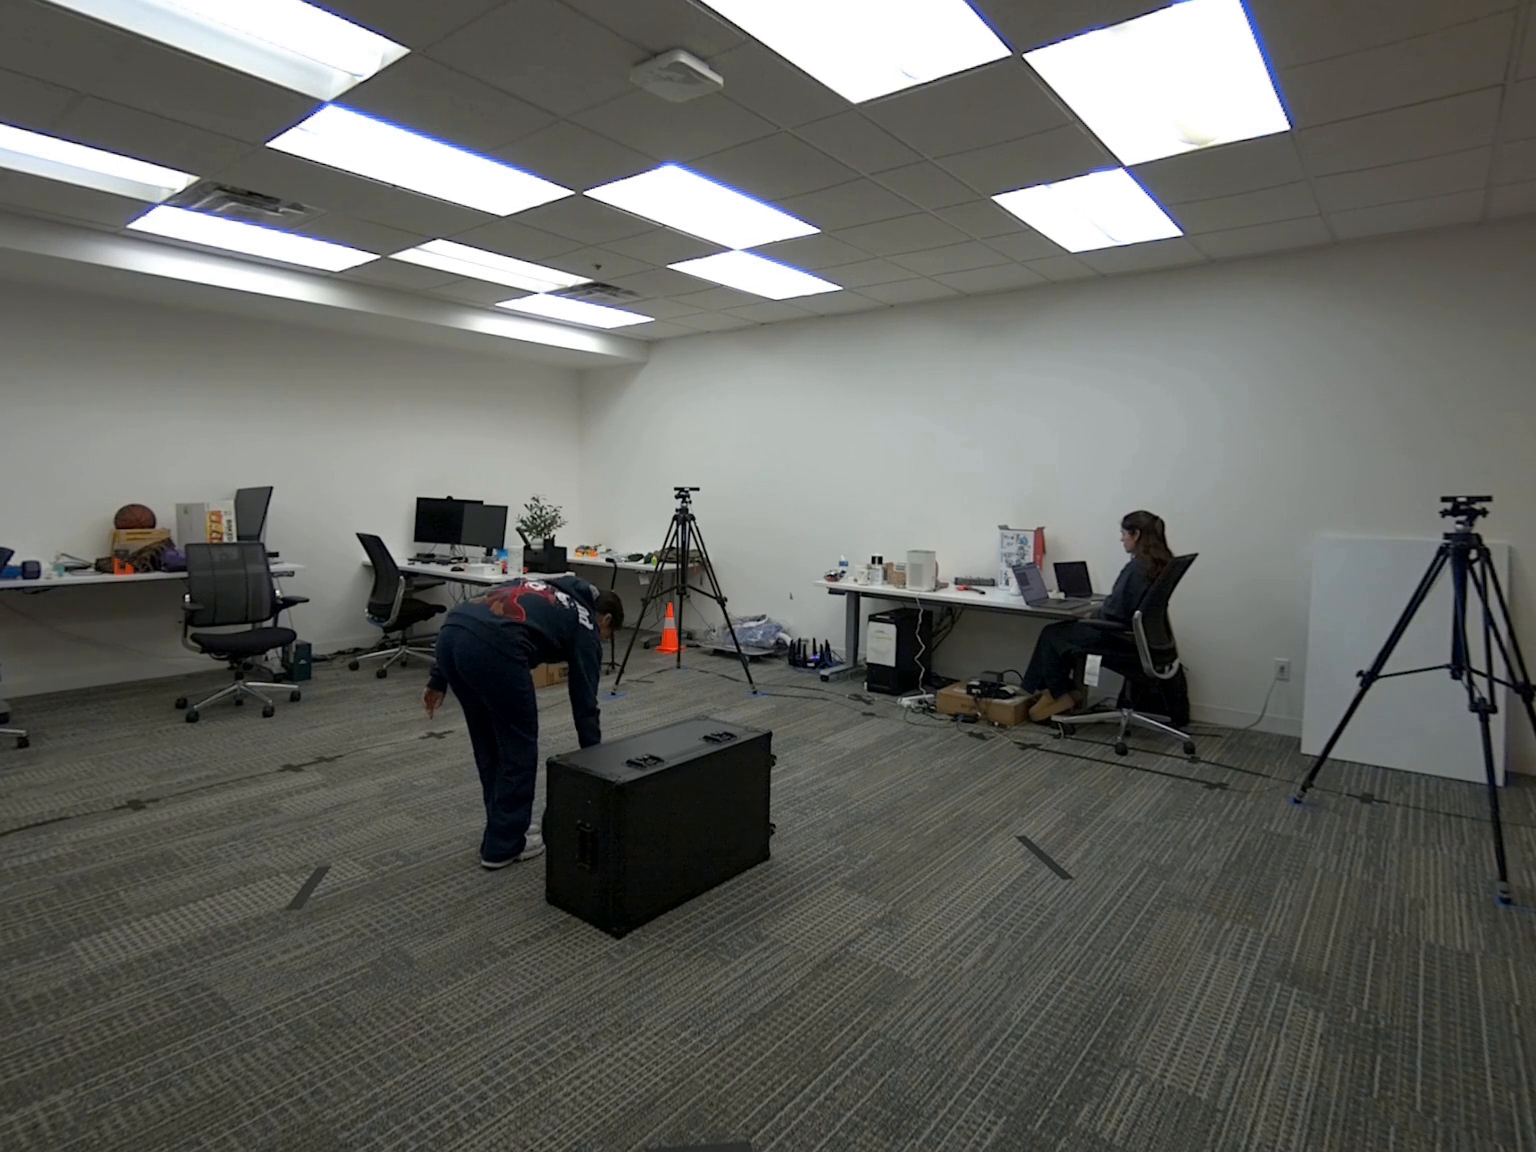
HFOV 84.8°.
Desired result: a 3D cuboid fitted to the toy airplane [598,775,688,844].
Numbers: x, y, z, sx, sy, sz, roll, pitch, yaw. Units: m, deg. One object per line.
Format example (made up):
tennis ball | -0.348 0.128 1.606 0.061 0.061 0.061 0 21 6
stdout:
toy airplane | -0.513 0.950 3.451 0.259 0.156 0.252 3 3 31
